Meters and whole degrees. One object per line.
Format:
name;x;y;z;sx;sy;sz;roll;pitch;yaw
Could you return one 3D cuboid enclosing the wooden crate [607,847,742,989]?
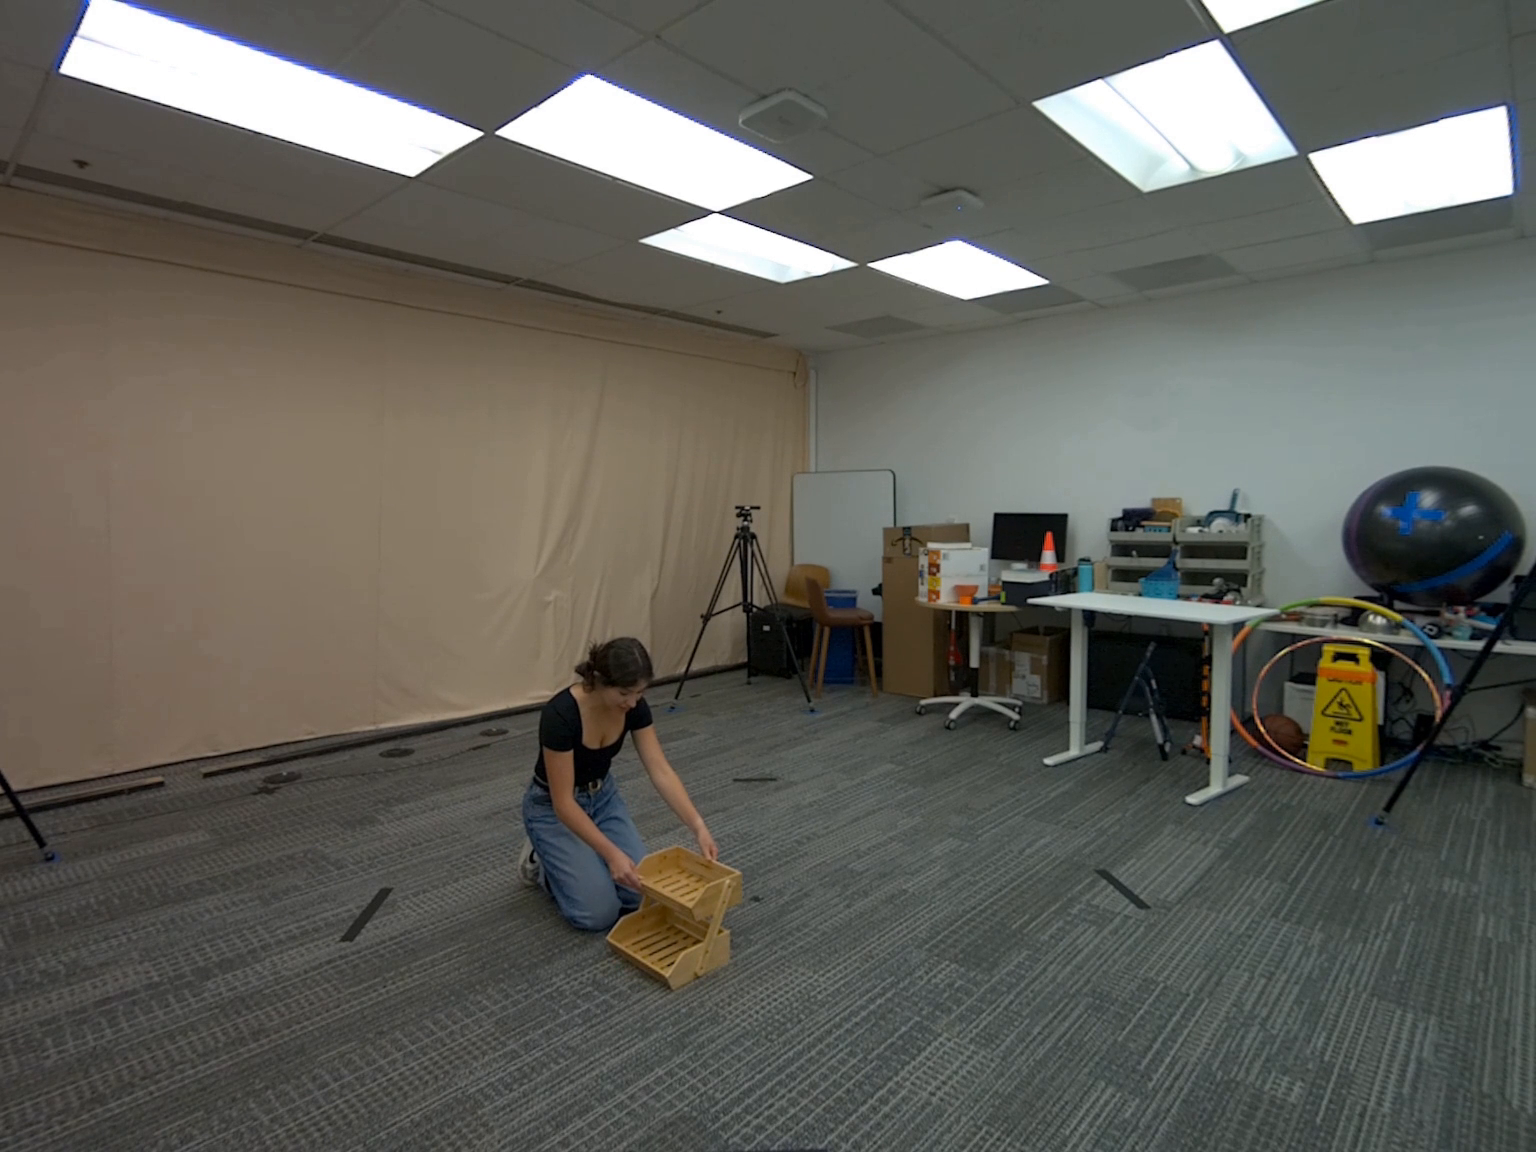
wooden crate;-0.290;1.044;2.609;0.335;0.273;0.293;4;5;44
